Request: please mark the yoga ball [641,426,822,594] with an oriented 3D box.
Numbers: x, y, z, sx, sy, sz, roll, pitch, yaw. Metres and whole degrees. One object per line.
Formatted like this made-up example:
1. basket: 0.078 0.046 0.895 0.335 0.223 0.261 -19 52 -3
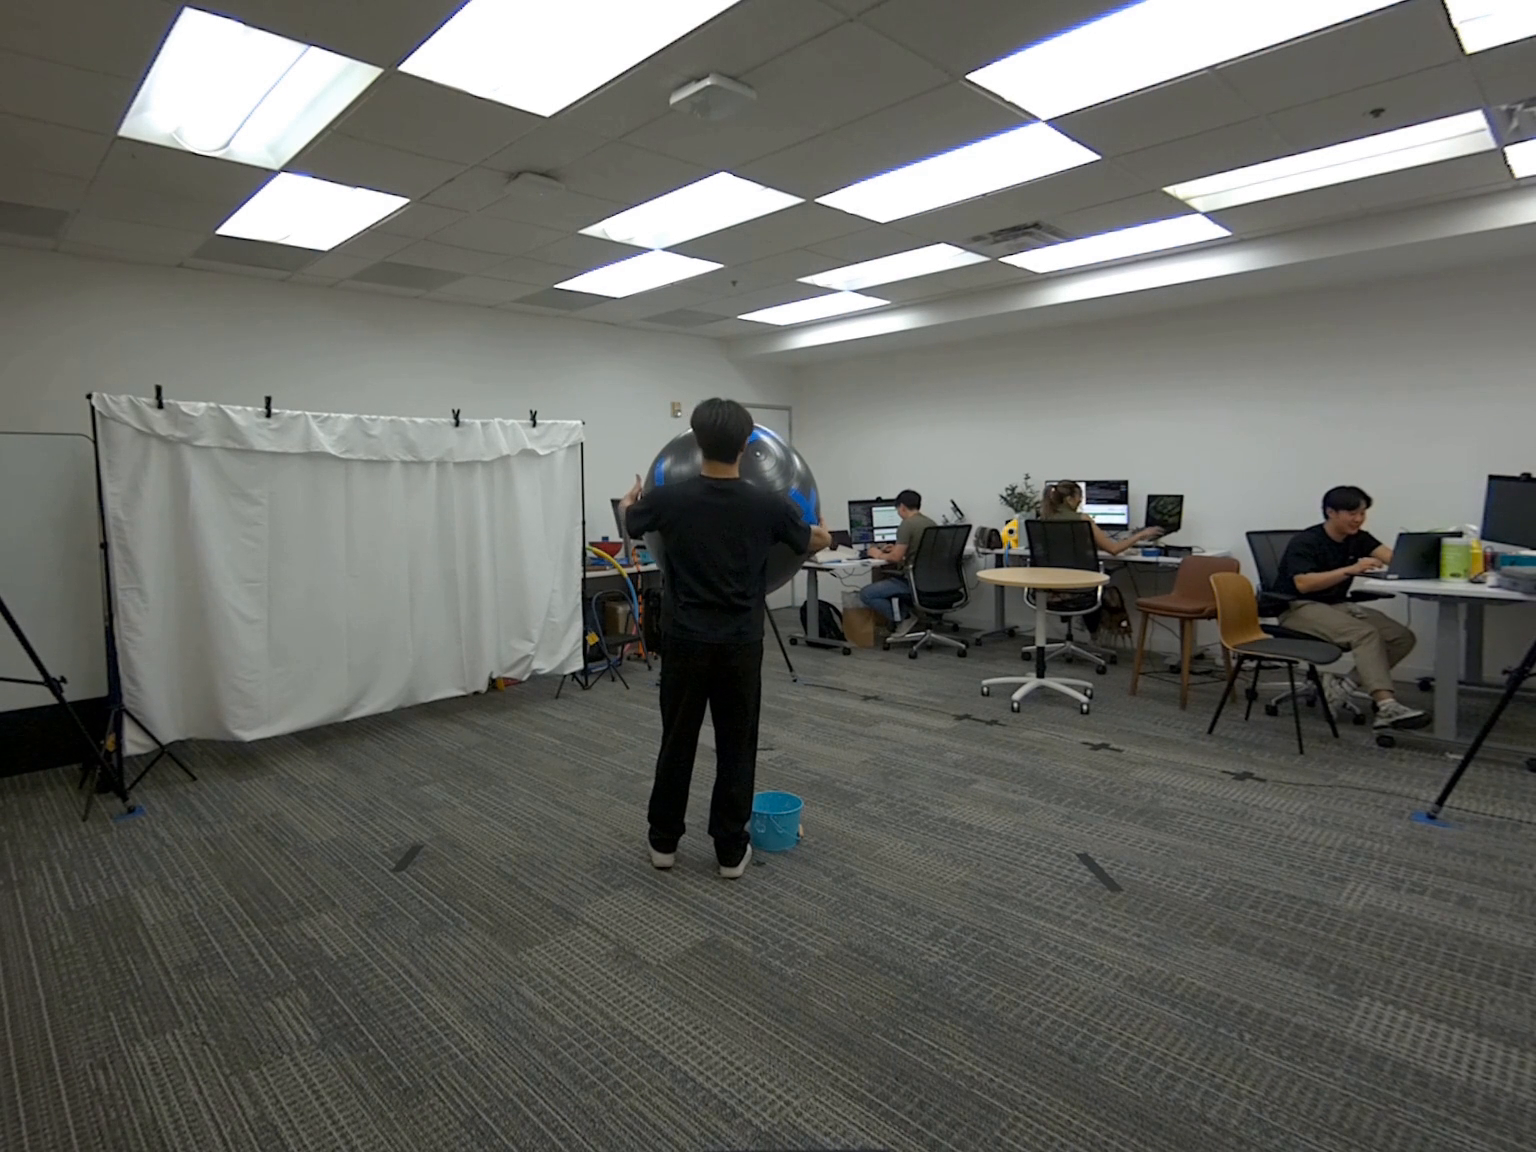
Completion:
1. yoga ball: -0.163 -0.261 3.581 0.757 0.755 0.762 -1 5 -2
